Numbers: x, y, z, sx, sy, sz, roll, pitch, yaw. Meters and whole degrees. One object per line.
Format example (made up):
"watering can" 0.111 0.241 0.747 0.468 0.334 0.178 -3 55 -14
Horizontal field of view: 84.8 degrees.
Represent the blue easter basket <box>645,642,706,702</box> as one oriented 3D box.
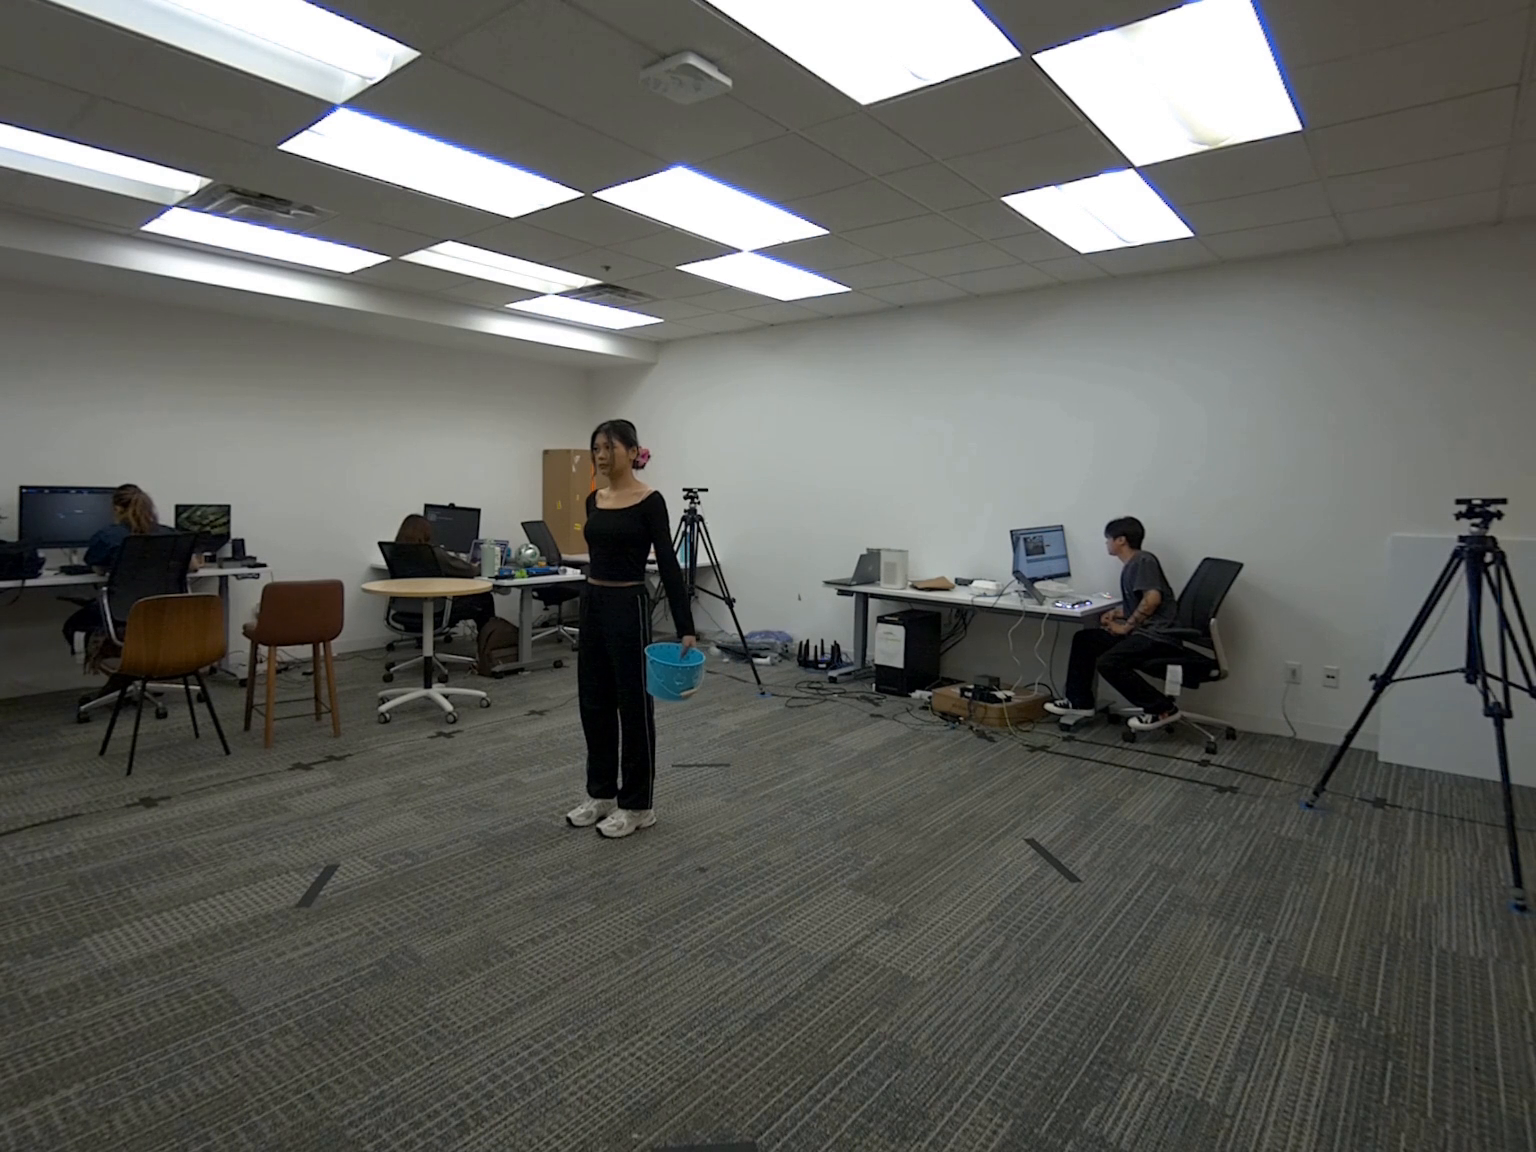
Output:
"blue easter basket" -0.370 0.363 3.230 0.243 0.154 0.247 6 12 -3
